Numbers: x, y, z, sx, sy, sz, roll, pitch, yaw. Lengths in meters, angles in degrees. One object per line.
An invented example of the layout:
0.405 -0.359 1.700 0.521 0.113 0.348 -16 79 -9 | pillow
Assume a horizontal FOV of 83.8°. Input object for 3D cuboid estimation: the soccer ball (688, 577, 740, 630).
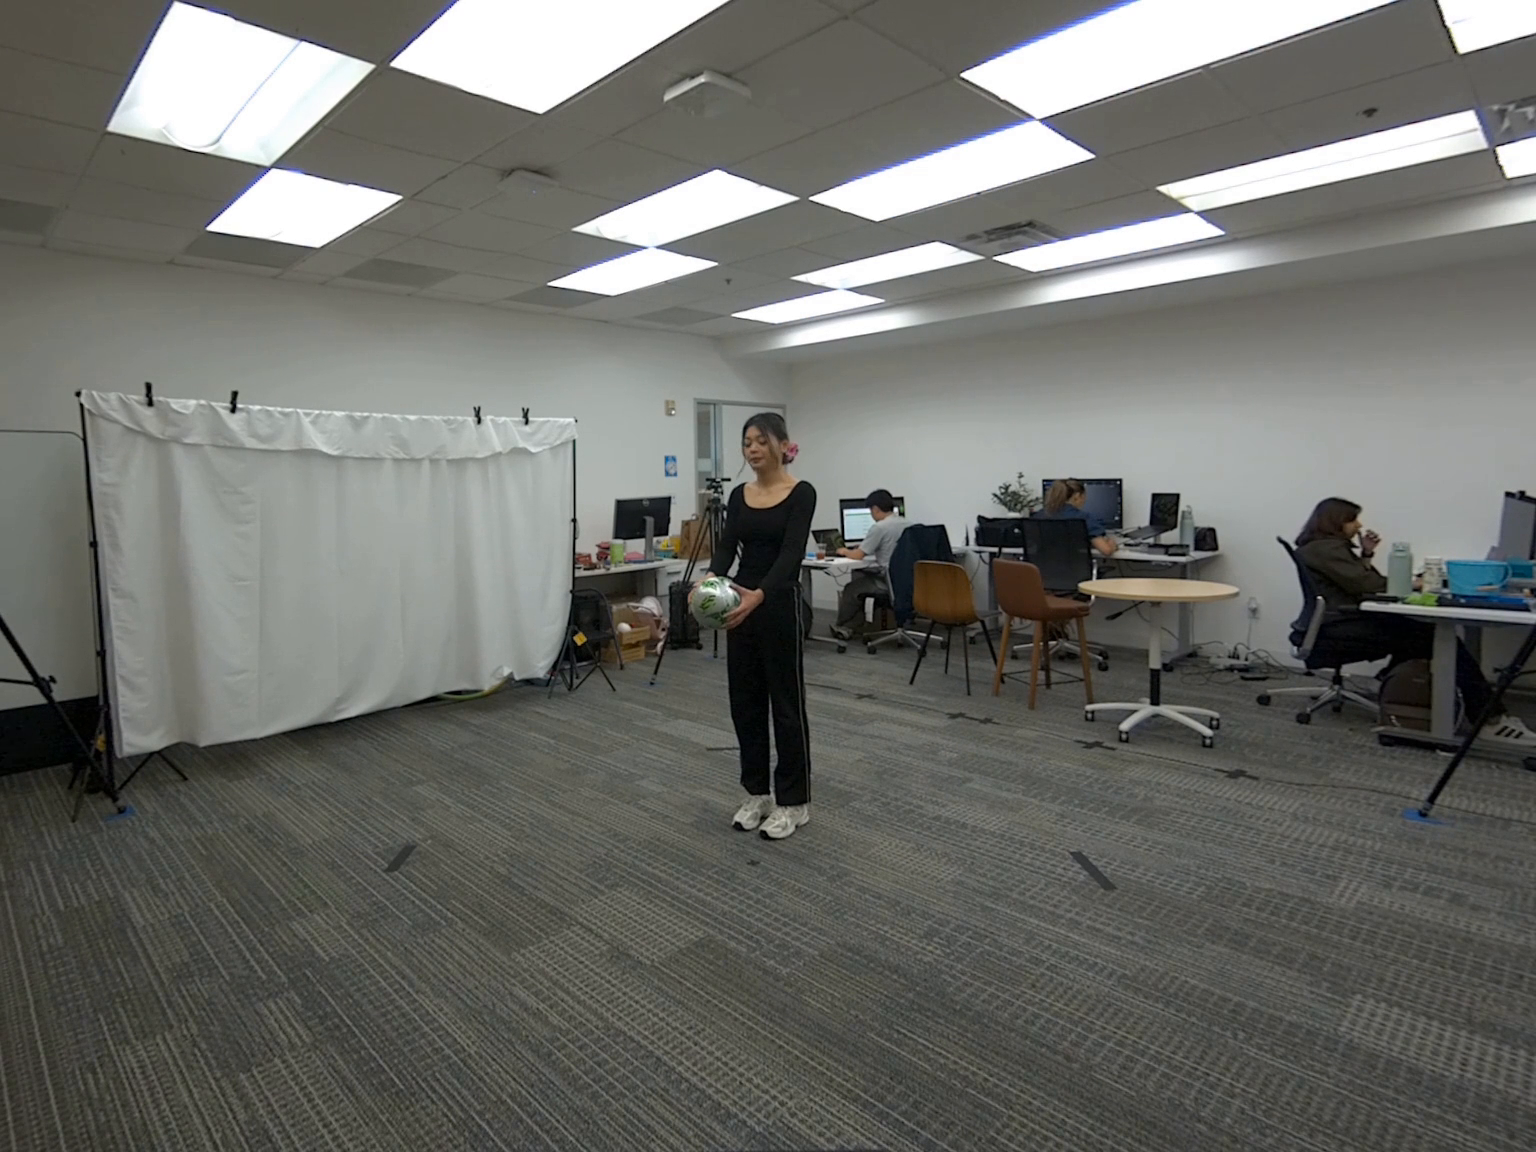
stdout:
-0.176 0.100 3.019 0.187 0.187 0.188 -1 5 -2 | soccer ball
